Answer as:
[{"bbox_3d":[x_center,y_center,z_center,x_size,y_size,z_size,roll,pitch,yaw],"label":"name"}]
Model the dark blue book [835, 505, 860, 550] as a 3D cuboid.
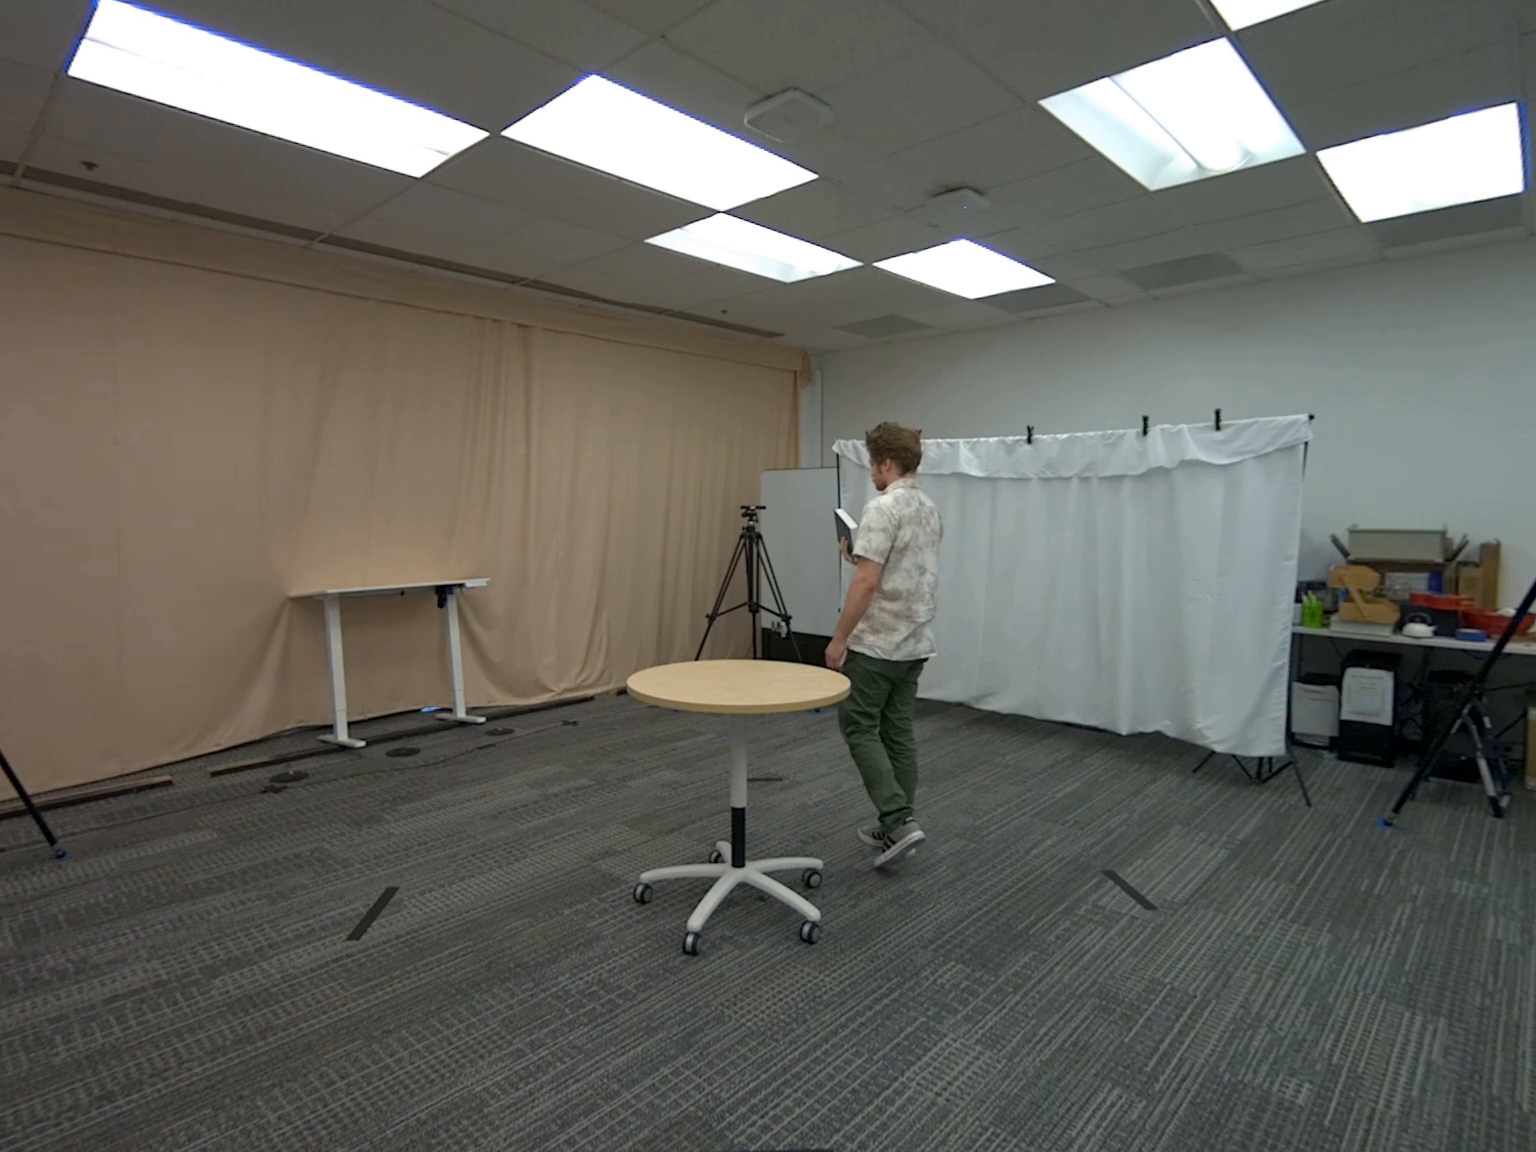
[{"bbox_3d":[0.356,-0.191,3.676,0.045,0.161,0.250,-12,23,-6],"label":"dark blue book"}]
